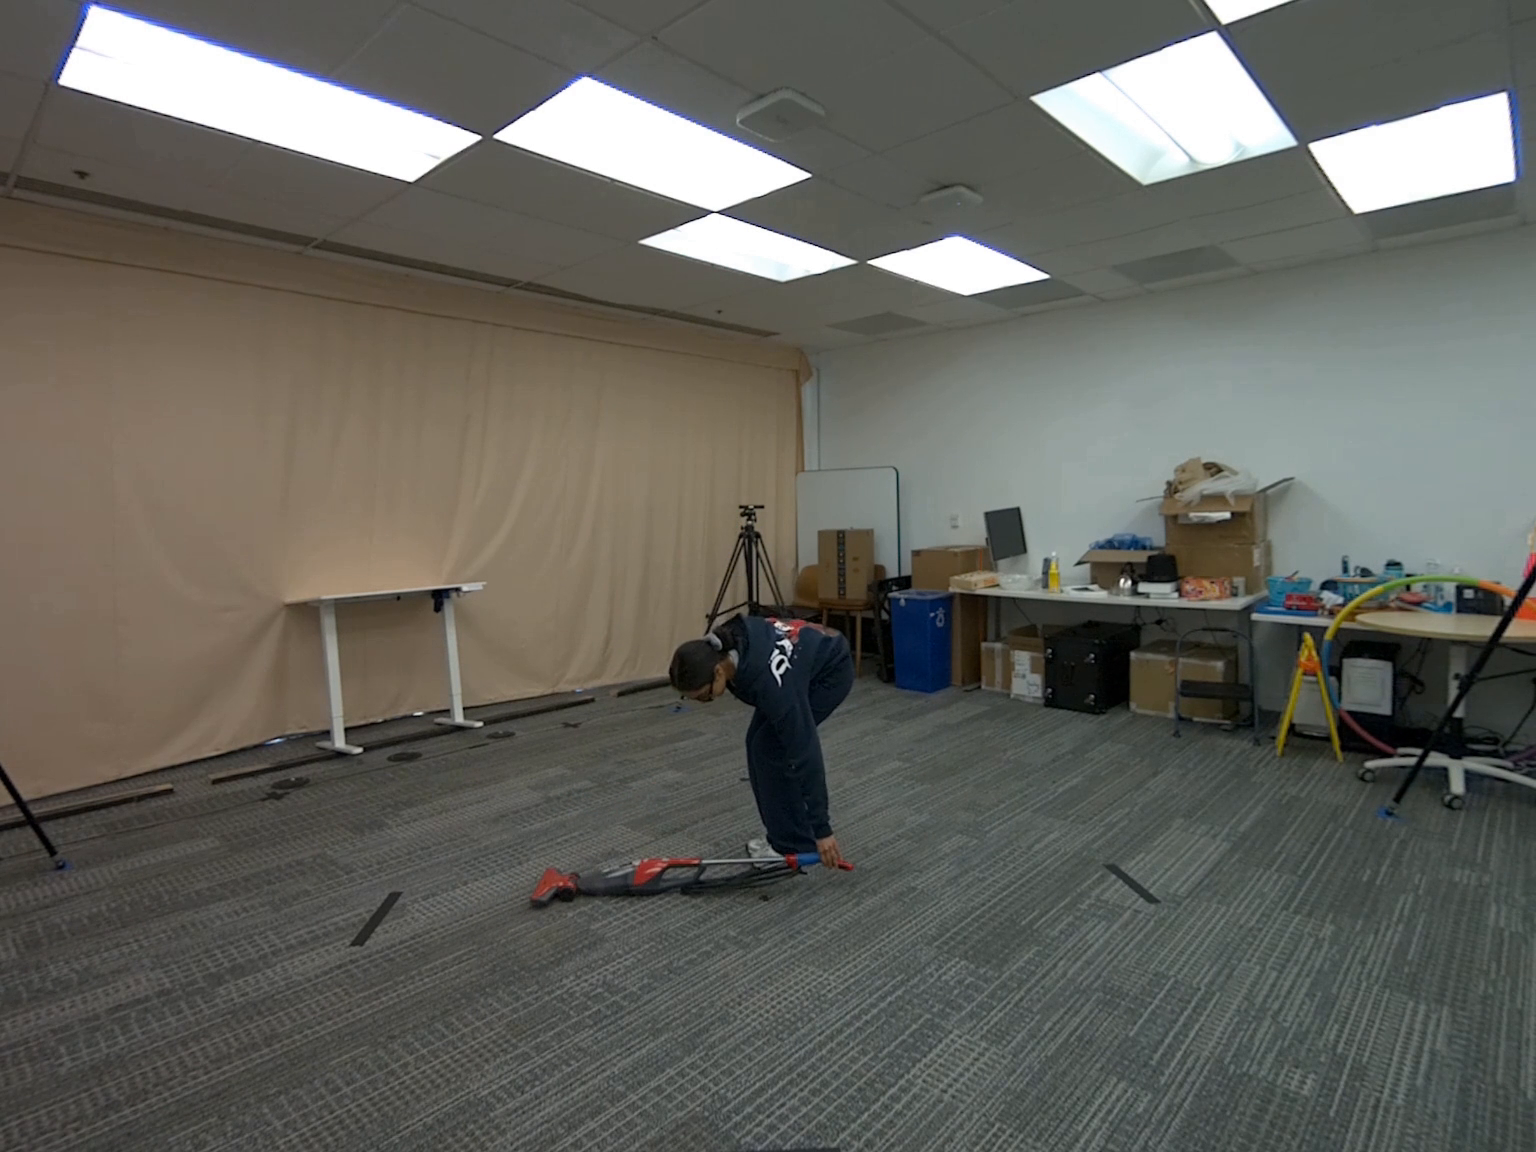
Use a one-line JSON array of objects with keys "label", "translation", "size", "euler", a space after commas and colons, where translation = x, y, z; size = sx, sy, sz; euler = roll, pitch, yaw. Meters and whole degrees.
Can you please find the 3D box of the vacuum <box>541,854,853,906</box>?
[{"label": "vacuum", "translation": [-0.228, 1.068, 3.025], "size": [1.051, 0.144, 0.251], "euler": [-5, -3, 2]}]
